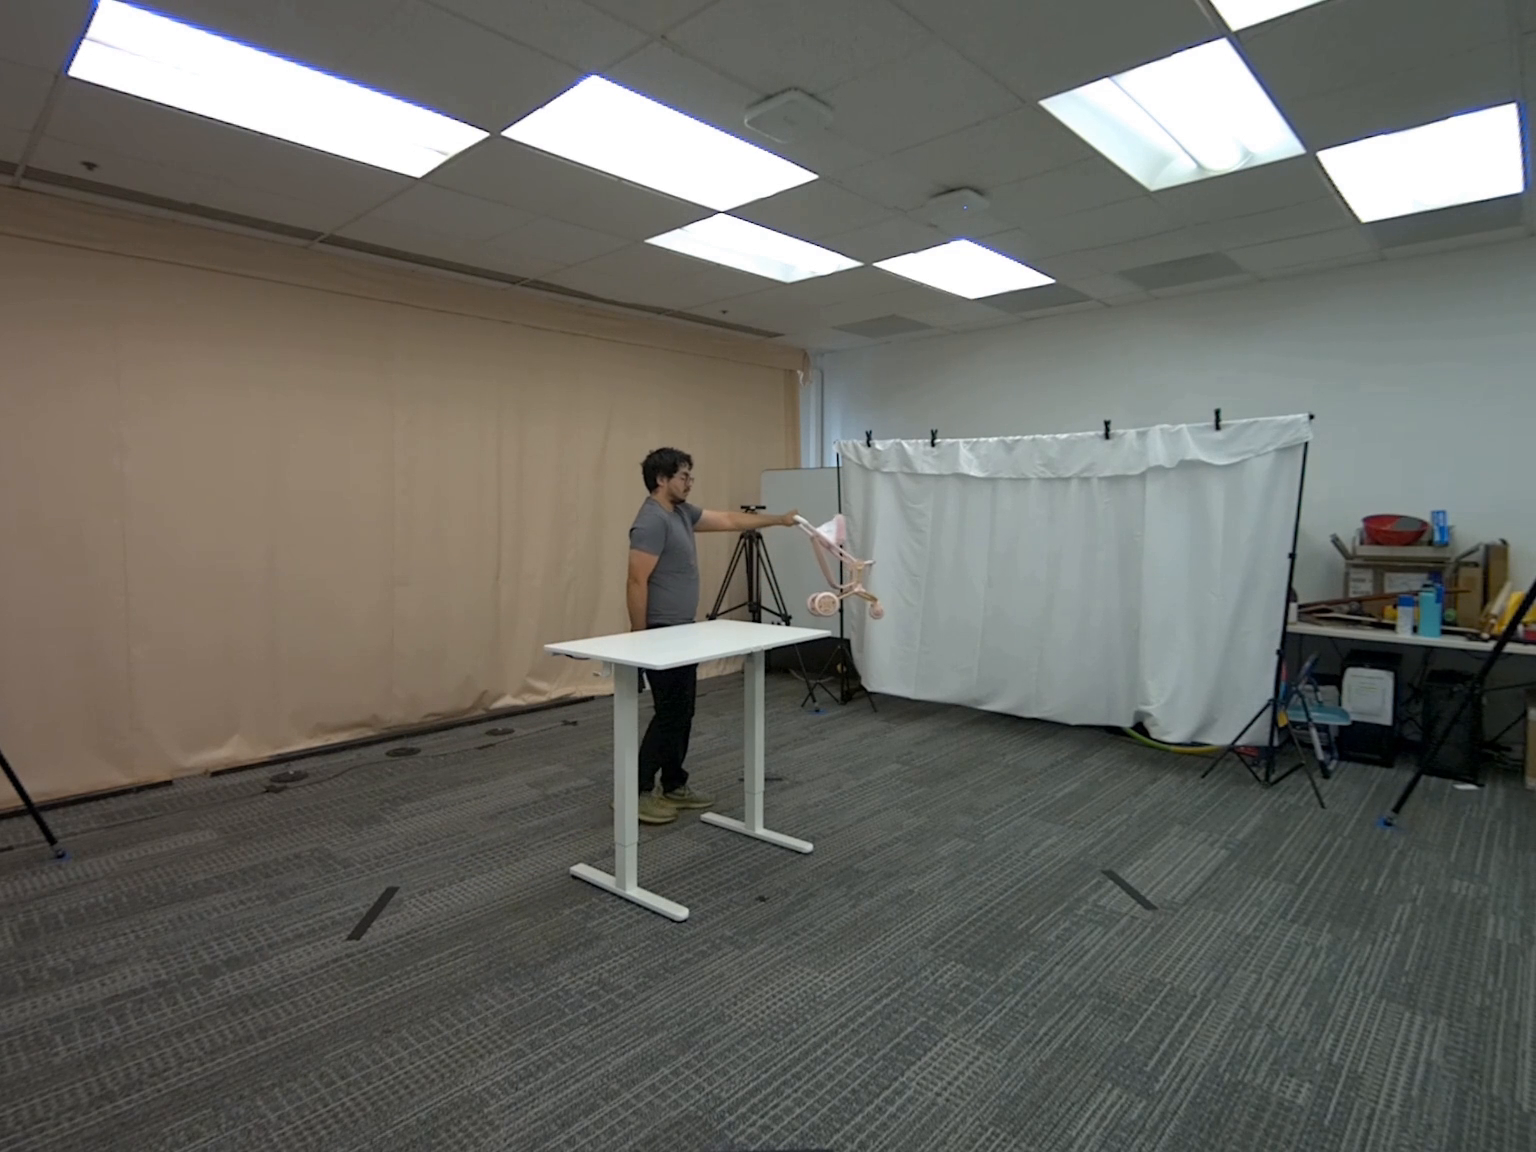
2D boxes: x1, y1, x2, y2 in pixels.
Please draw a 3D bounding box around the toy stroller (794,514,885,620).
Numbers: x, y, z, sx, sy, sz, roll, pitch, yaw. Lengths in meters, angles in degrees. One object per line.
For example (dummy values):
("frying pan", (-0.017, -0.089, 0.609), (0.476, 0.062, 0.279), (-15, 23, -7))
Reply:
("toy stroller", (0.330, -0.039, 3.865), (0.342, 0.536, 0.280), (-10, -3, 2))
